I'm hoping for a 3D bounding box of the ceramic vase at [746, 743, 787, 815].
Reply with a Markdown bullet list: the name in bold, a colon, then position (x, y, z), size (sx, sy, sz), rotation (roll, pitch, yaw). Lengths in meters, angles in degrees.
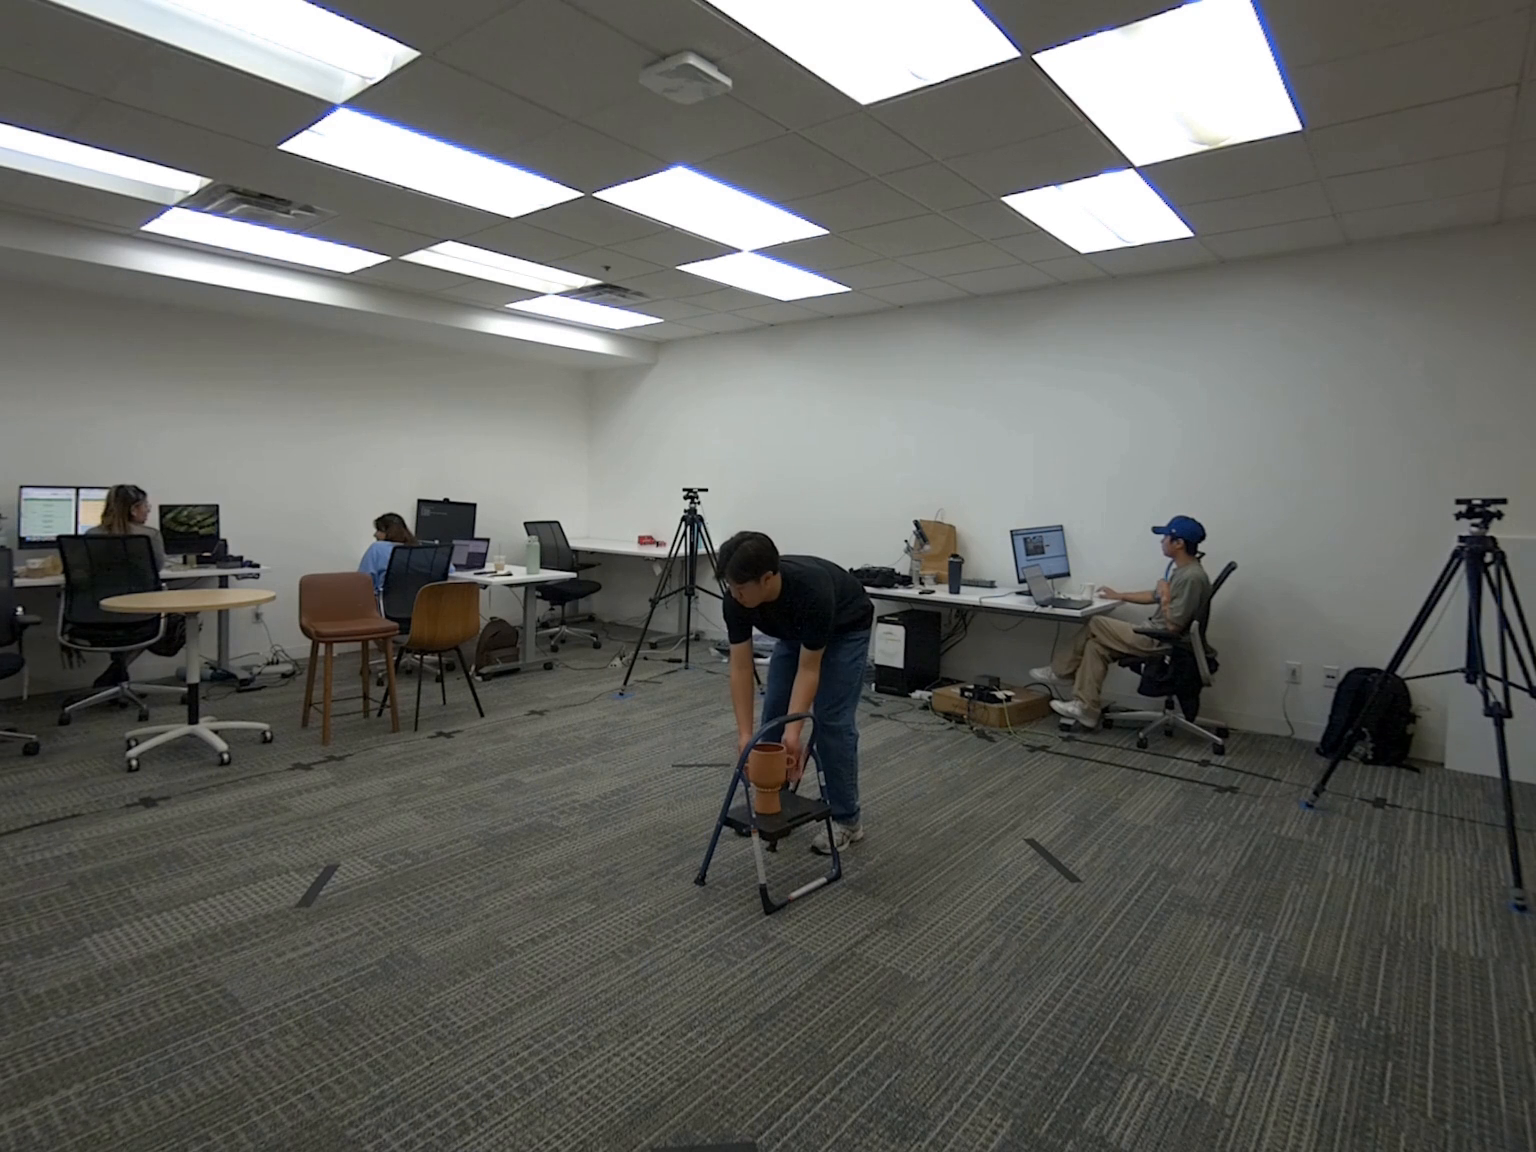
- **ceramic vase**: position (-0.011, 0.713, 3.002), size (0.163, 0.220, 0.131), rotation (0, 0, 29)
